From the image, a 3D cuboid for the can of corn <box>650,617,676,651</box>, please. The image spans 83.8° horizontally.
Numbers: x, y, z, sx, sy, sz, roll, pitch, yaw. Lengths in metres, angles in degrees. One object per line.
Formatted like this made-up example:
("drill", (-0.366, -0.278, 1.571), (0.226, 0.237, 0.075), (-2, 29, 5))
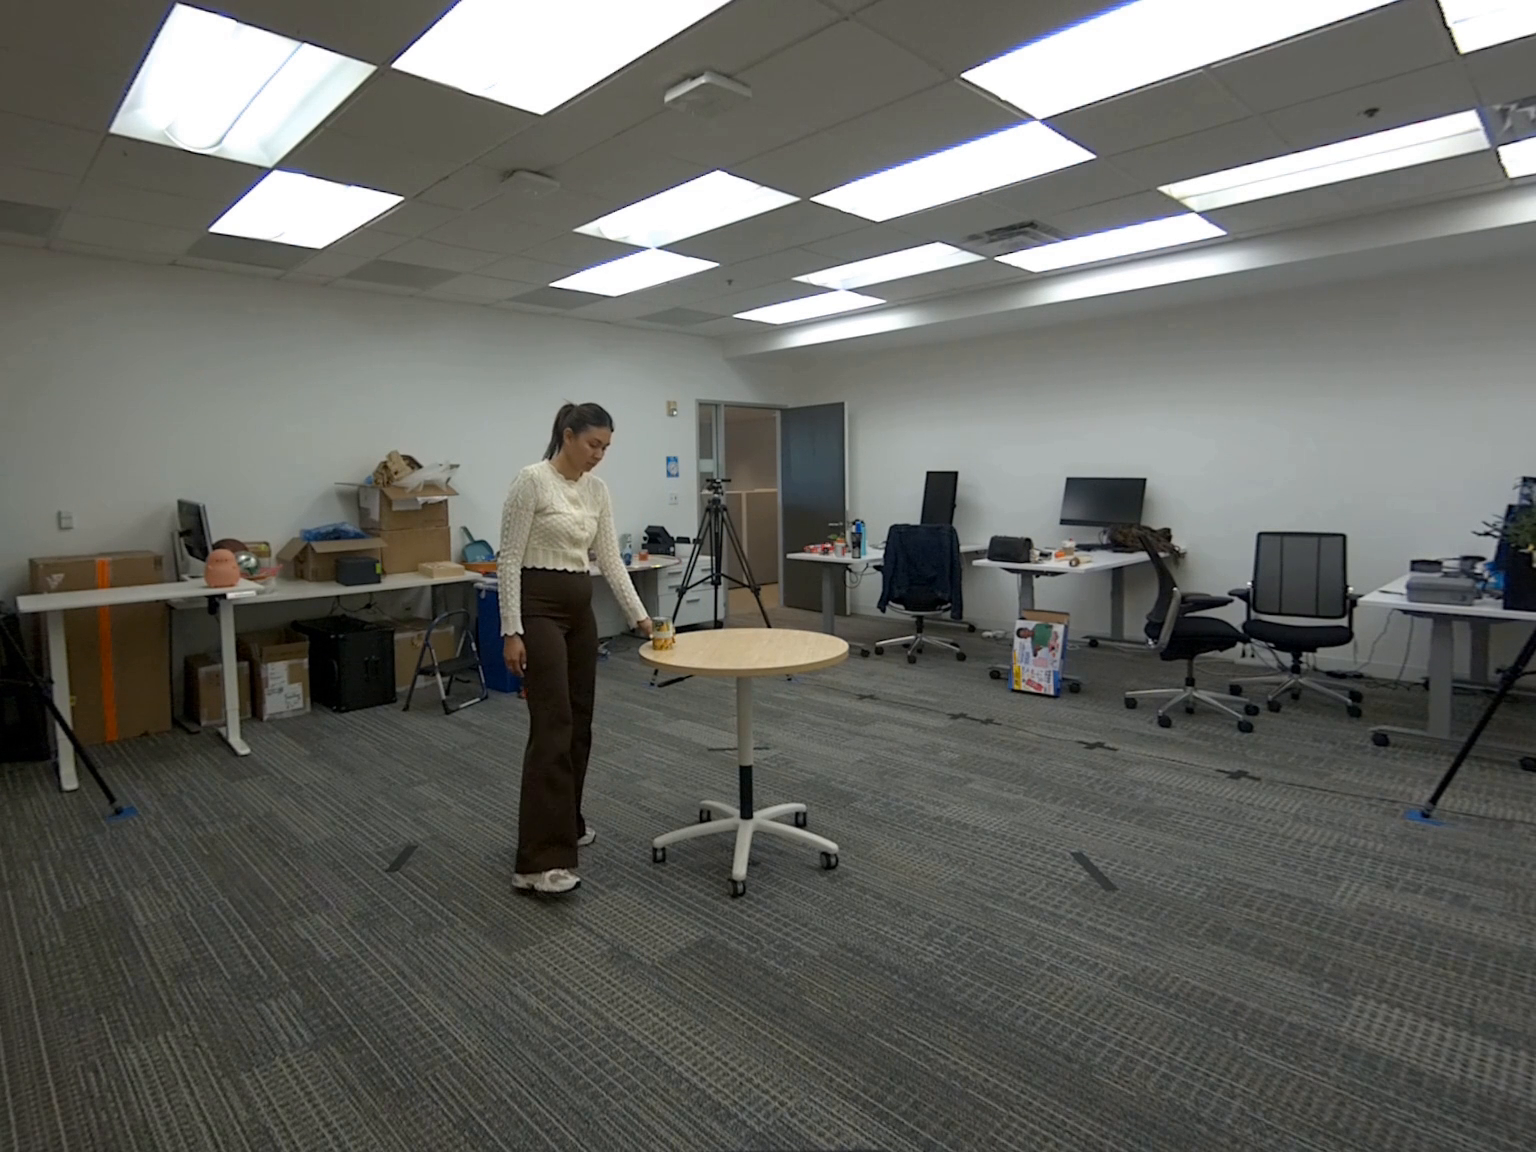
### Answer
("can of corn", (-0.405, 0.221, 3.129), (0.074, 0.112, 0.074), (-5, -7, -2))
